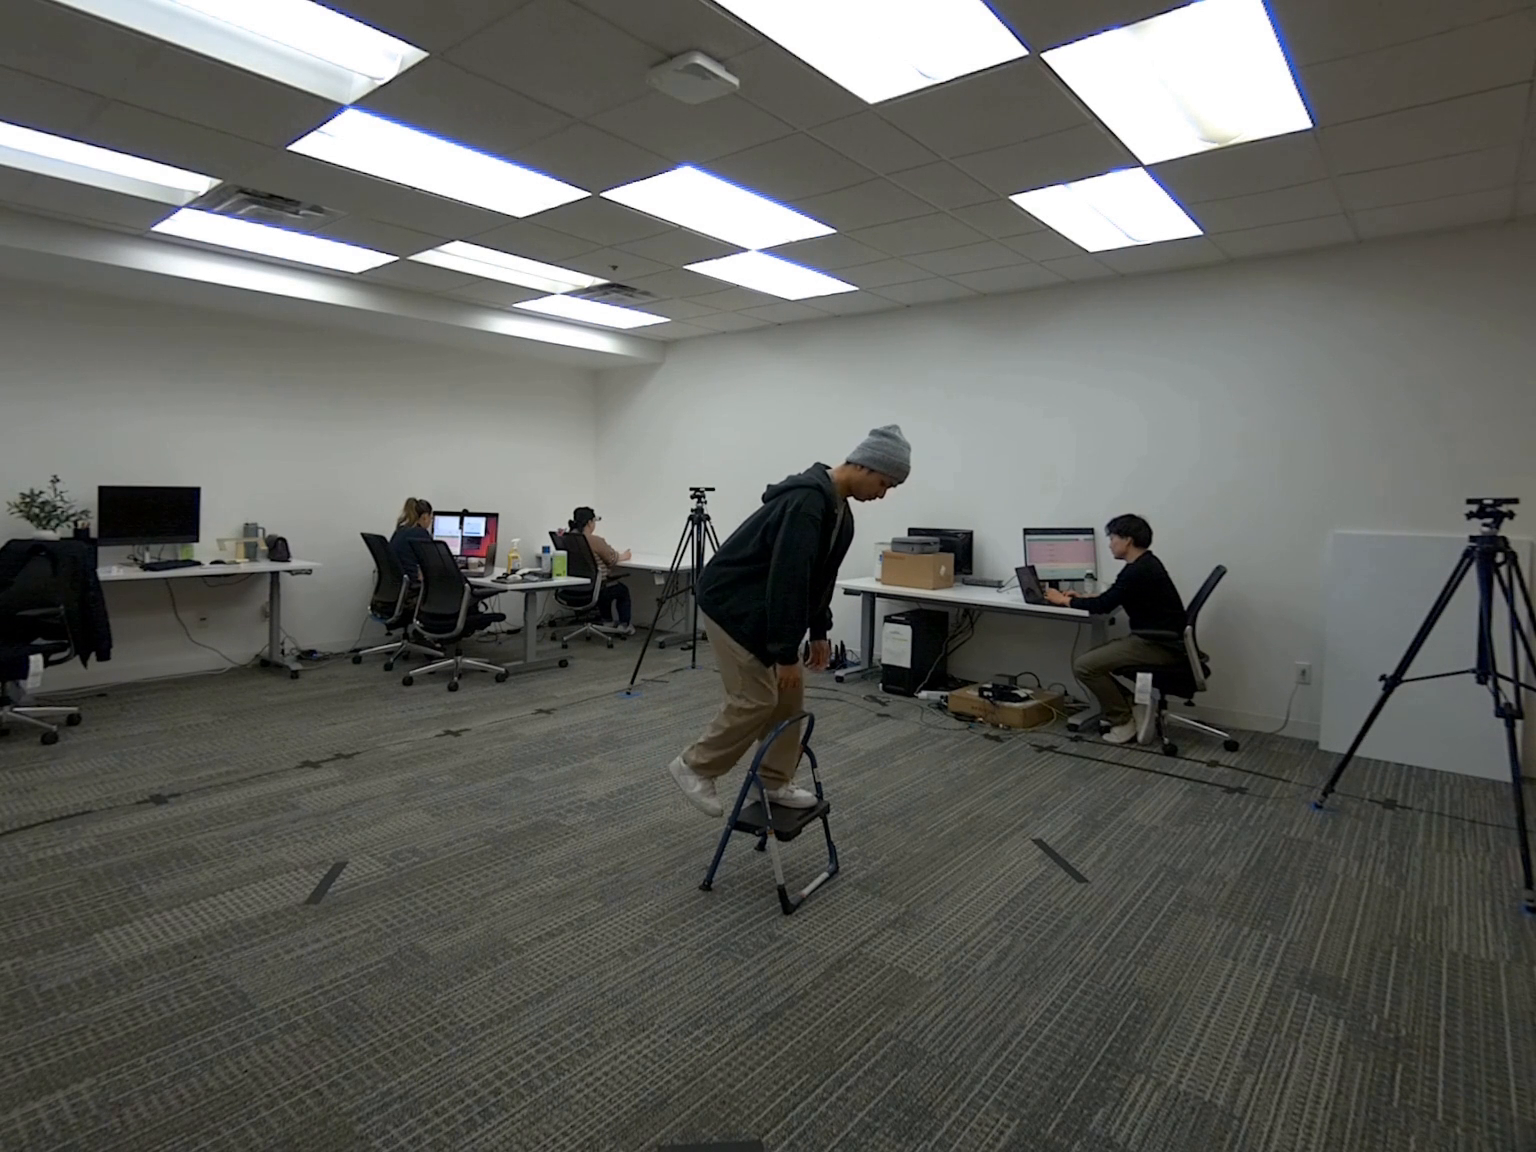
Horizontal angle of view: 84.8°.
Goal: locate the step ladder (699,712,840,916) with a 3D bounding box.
[{"bbox_3d":[0.016,0.777,3.017,0.359,0.604,0.420,4,5,29],"label":"step ladder"}]
